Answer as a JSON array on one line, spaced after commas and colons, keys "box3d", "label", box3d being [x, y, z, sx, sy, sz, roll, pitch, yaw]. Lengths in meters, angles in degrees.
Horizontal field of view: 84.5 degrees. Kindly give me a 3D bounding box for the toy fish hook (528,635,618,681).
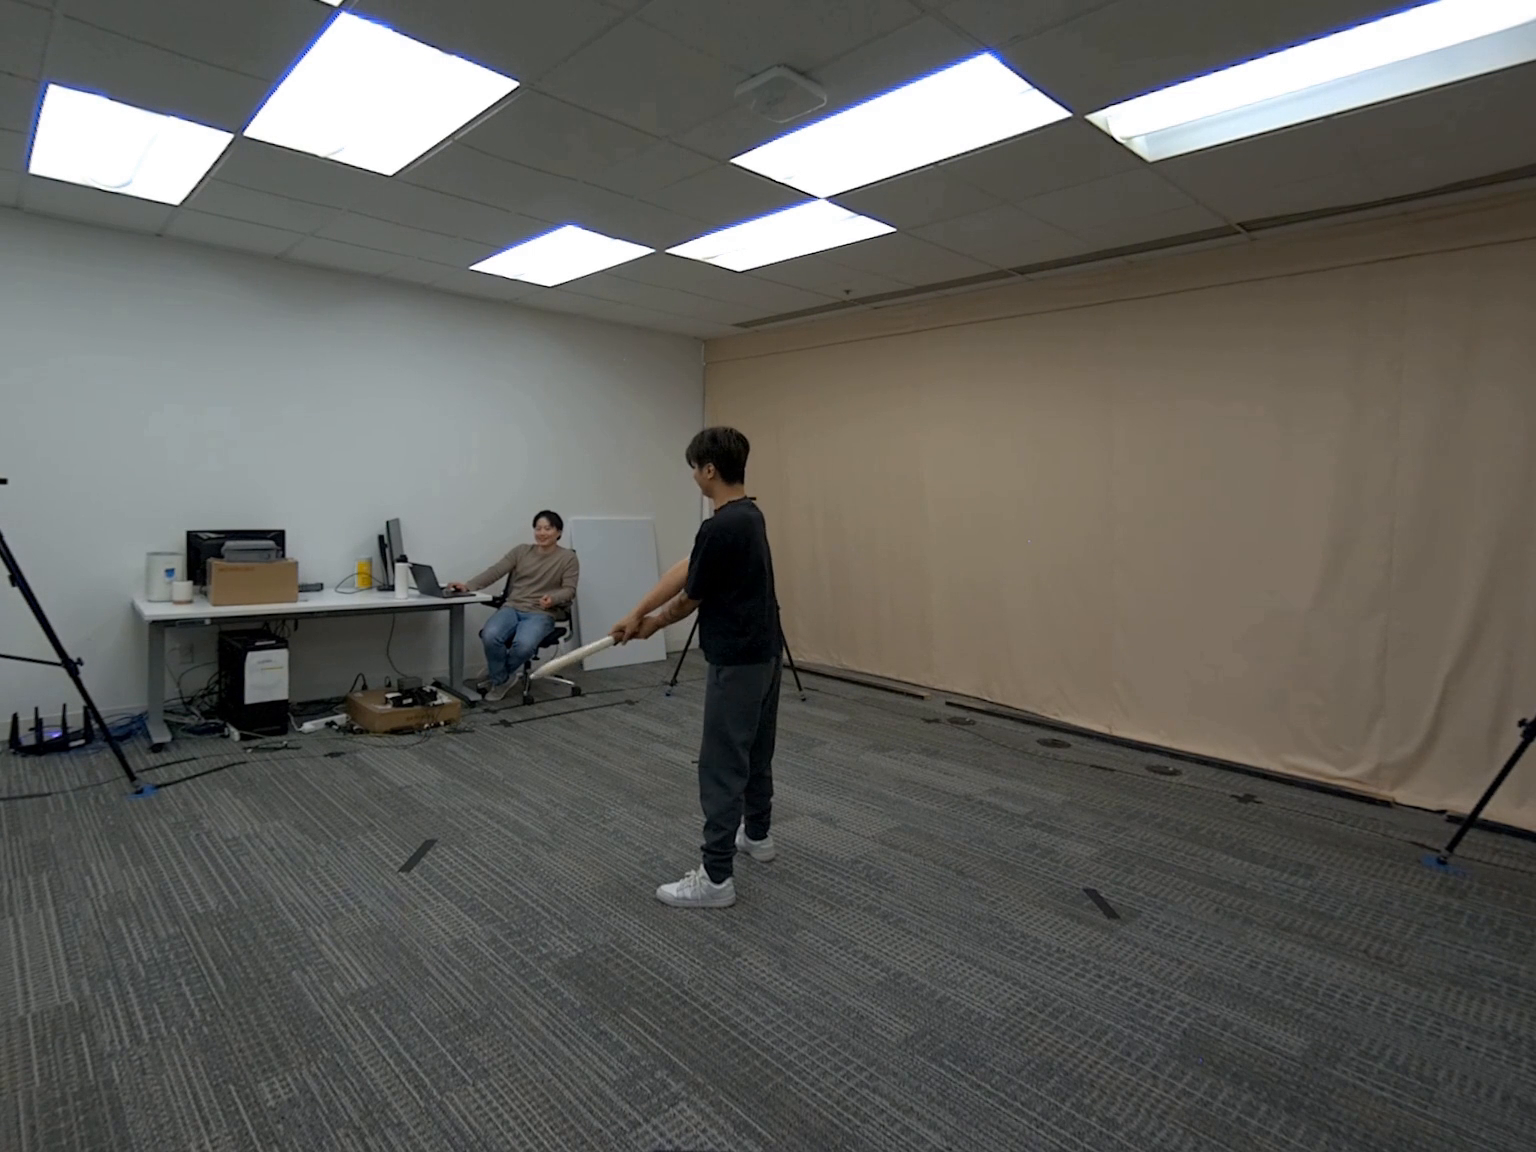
[{"box3d": [-0.629, 0.261, 3.093, 0.500, 0.048, 0.228, -24, 4, -41], "label": "toy fish hook"}]
